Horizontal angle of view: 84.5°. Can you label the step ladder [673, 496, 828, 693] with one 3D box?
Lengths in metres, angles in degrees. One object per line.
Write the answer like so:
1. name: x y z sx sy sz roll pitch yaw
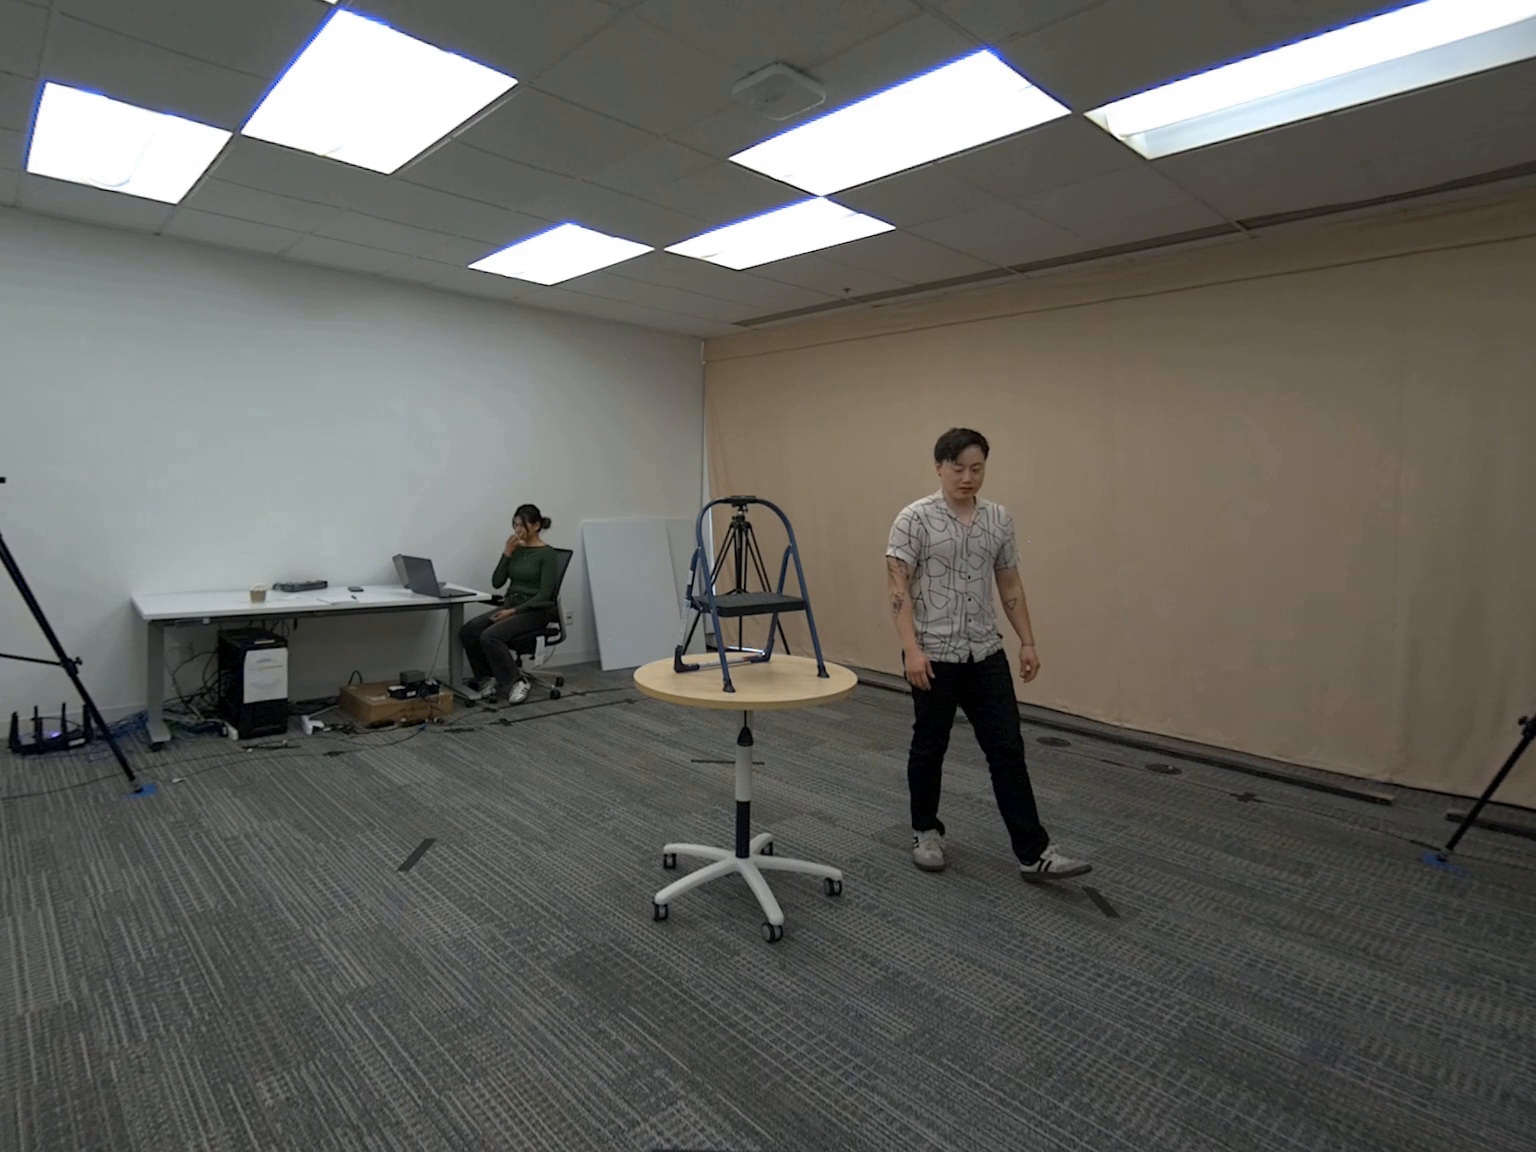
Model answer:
1. step ladder: -0.056 0.040 2.864 0.421 0.604 0.358 -2 5 -38
